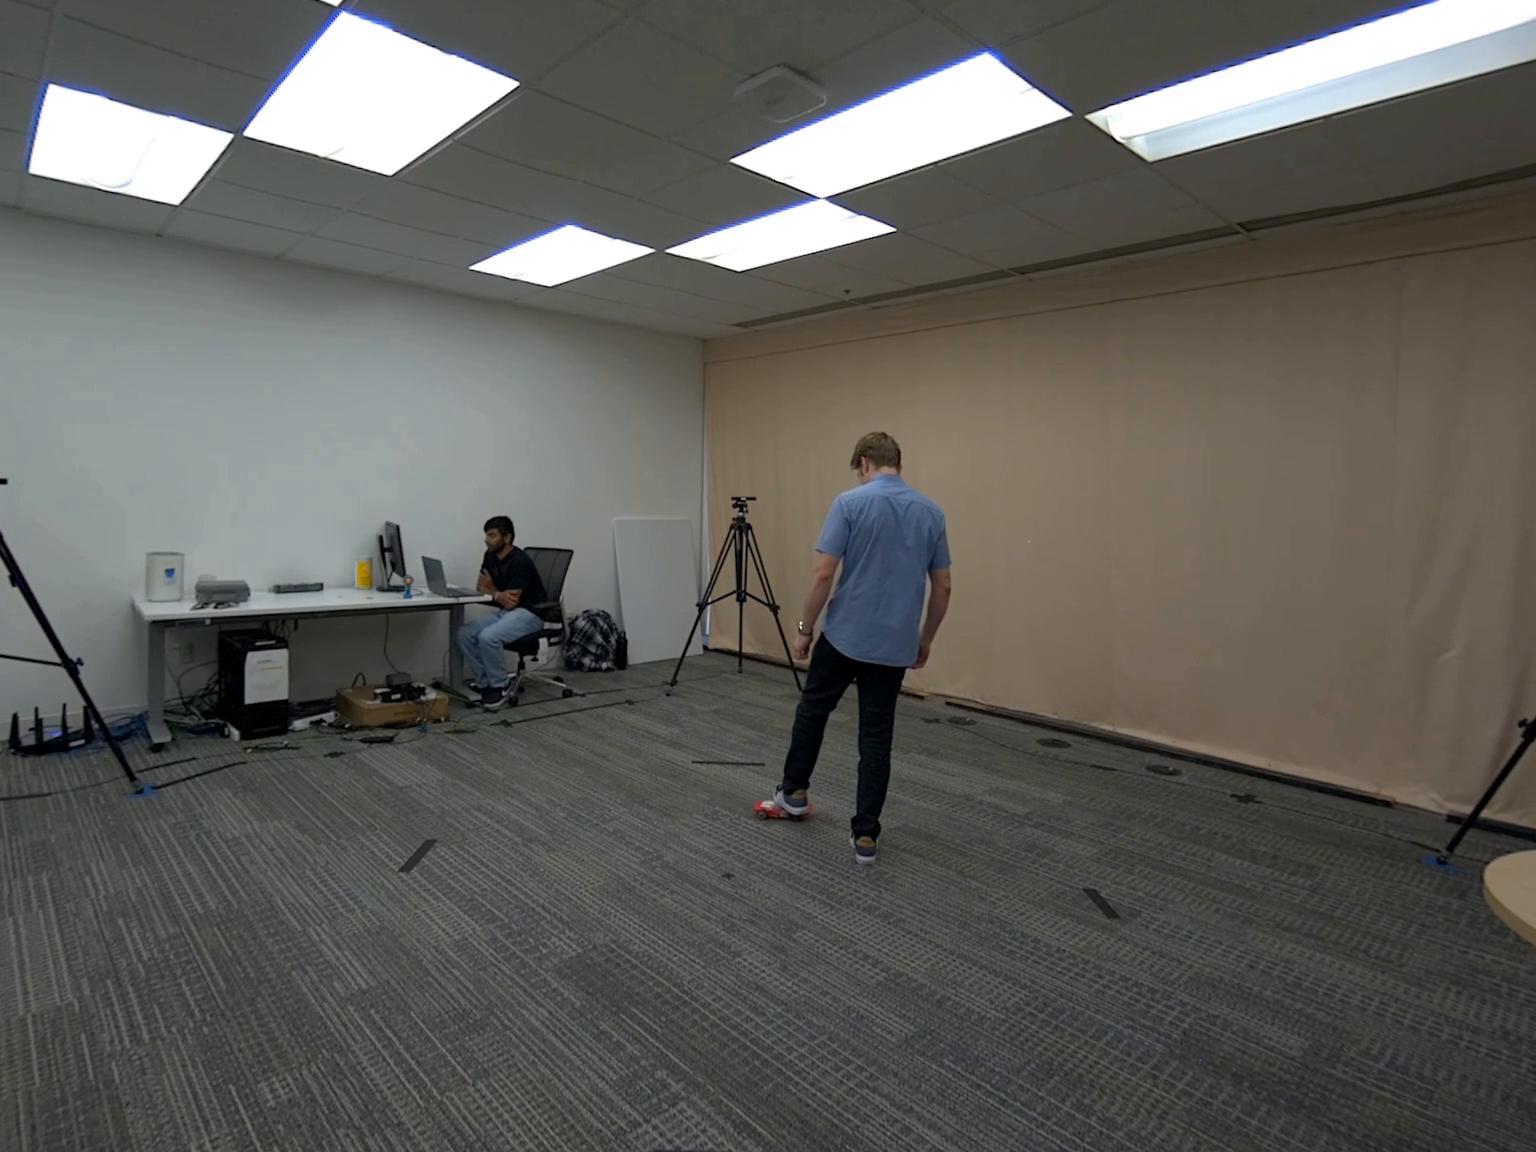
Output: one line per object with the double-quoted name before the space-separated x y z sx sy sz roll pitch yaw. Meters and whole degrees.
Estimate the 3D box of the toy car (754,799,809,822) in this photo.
"toy car" 0.062 1.031 3.710 0.255 0.083 0.130 -10 4 6
